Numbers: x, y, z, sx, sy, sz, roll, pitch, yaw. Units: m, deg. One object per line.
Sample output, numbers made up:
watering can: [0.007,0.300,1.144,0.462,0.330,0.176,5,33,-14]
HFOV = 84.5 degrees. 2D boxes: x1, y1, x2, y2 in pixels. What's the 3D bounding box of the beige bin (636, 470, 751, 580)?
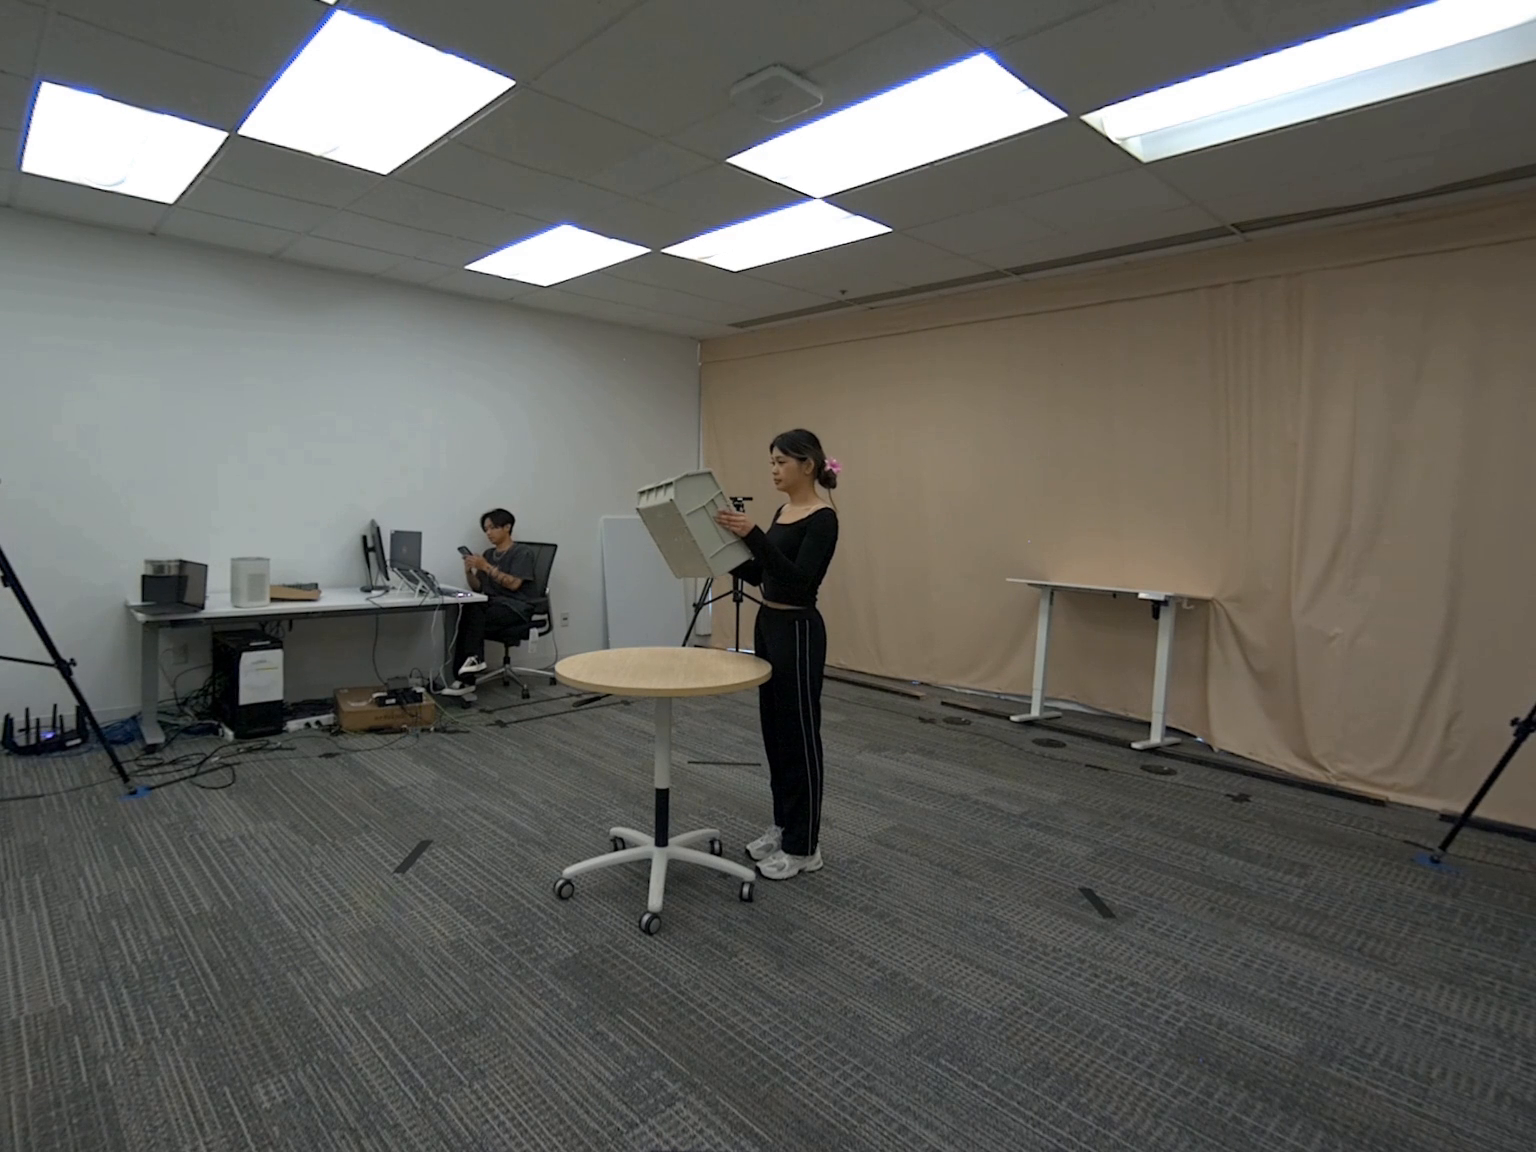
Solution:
beige bin: [-0.280,-0.176,3.009,0.188,0.373,0.429,-31,12,-23]
